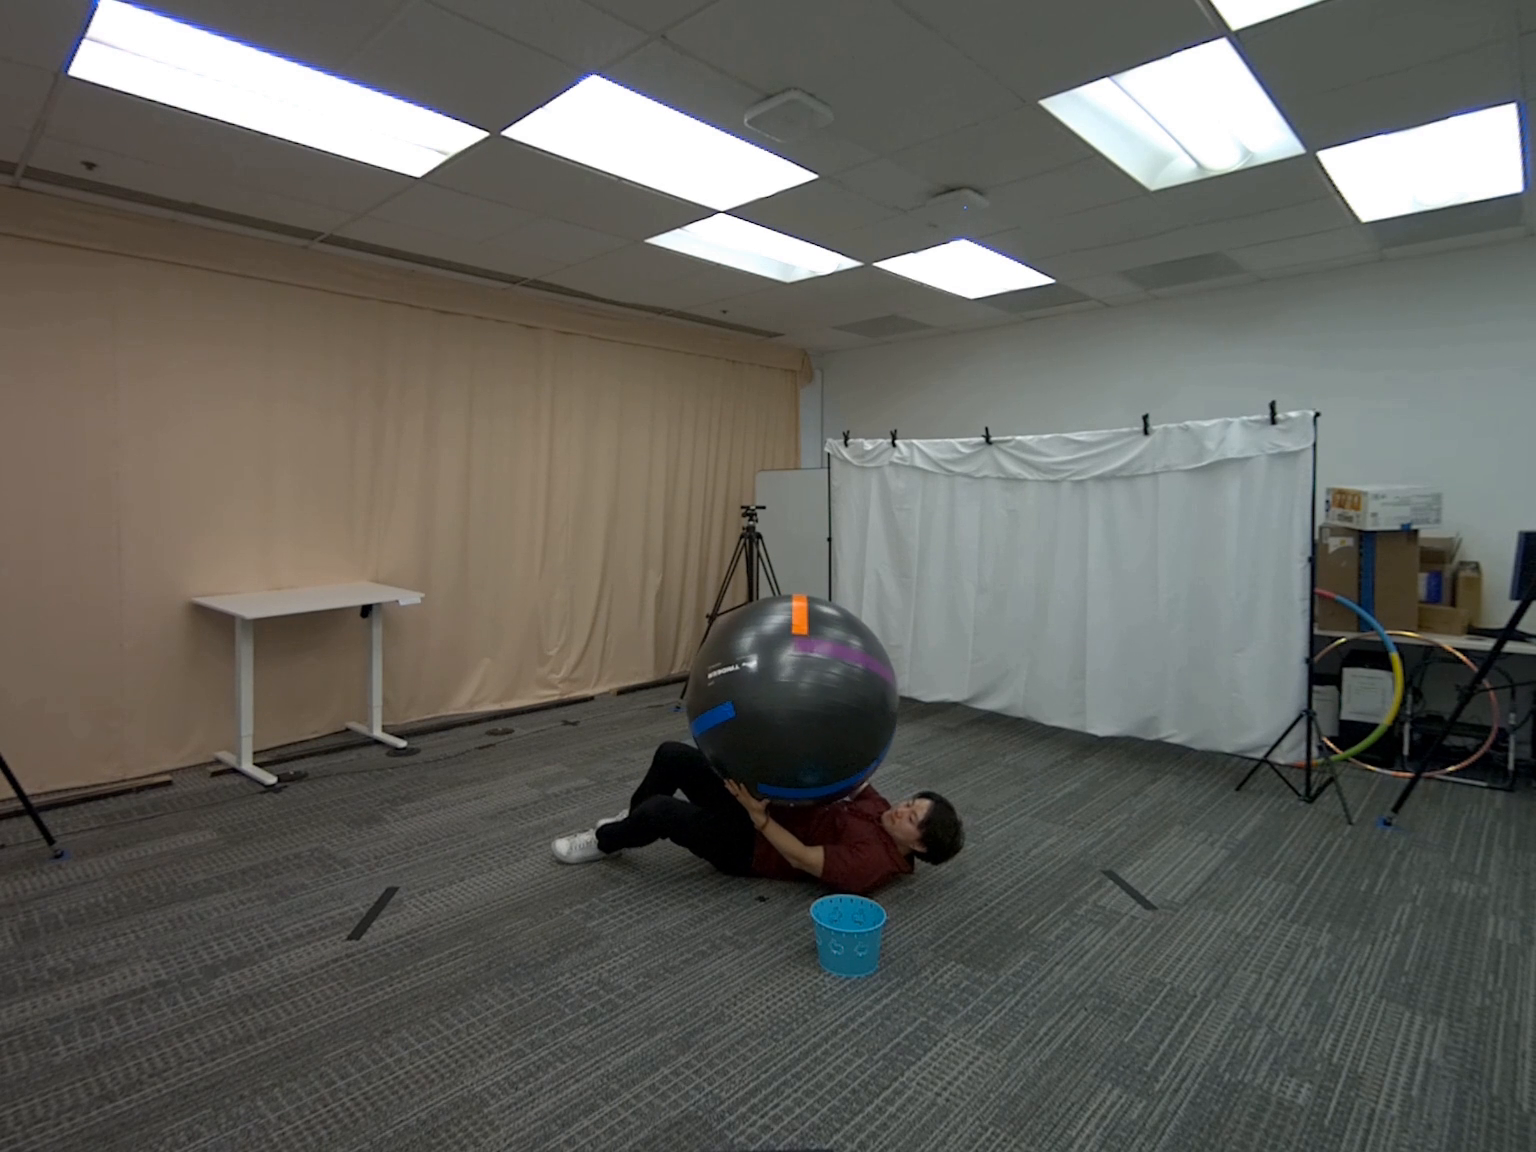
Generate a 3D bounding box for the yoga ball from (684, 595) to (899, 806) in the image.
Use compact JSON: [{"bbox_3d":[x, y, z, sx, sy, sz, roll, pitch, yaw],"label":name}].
[{"bbox_3d":[0.077,0.449,3.032,0.757,0.756,0.760,0,4,-2],"label":"yoga ball"}]
